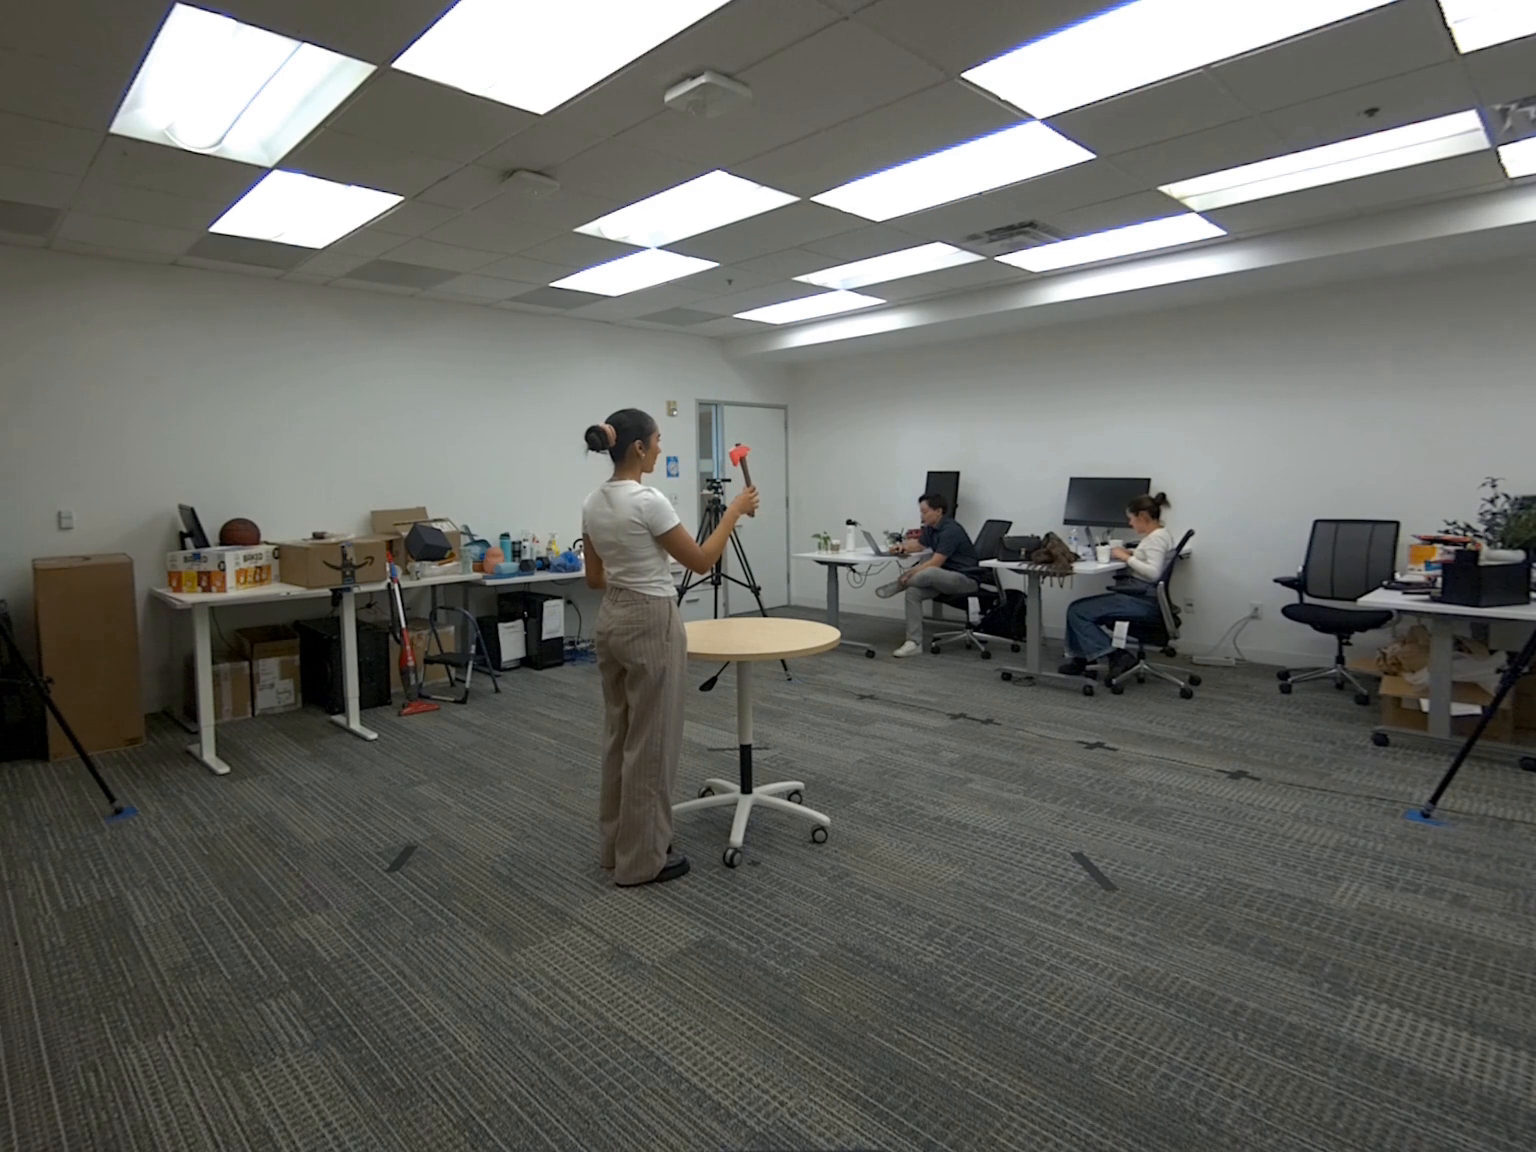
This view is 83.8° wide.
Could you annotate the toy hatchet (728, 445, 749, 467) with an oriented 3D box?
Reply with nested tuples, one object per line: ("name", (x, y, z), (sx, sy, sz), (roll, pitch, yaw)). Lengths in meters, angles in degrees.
("toy hatchet", (-0.087, -0.356, 3.099), (0.030, 0.273, 0.127), (-12, -13, 31))
